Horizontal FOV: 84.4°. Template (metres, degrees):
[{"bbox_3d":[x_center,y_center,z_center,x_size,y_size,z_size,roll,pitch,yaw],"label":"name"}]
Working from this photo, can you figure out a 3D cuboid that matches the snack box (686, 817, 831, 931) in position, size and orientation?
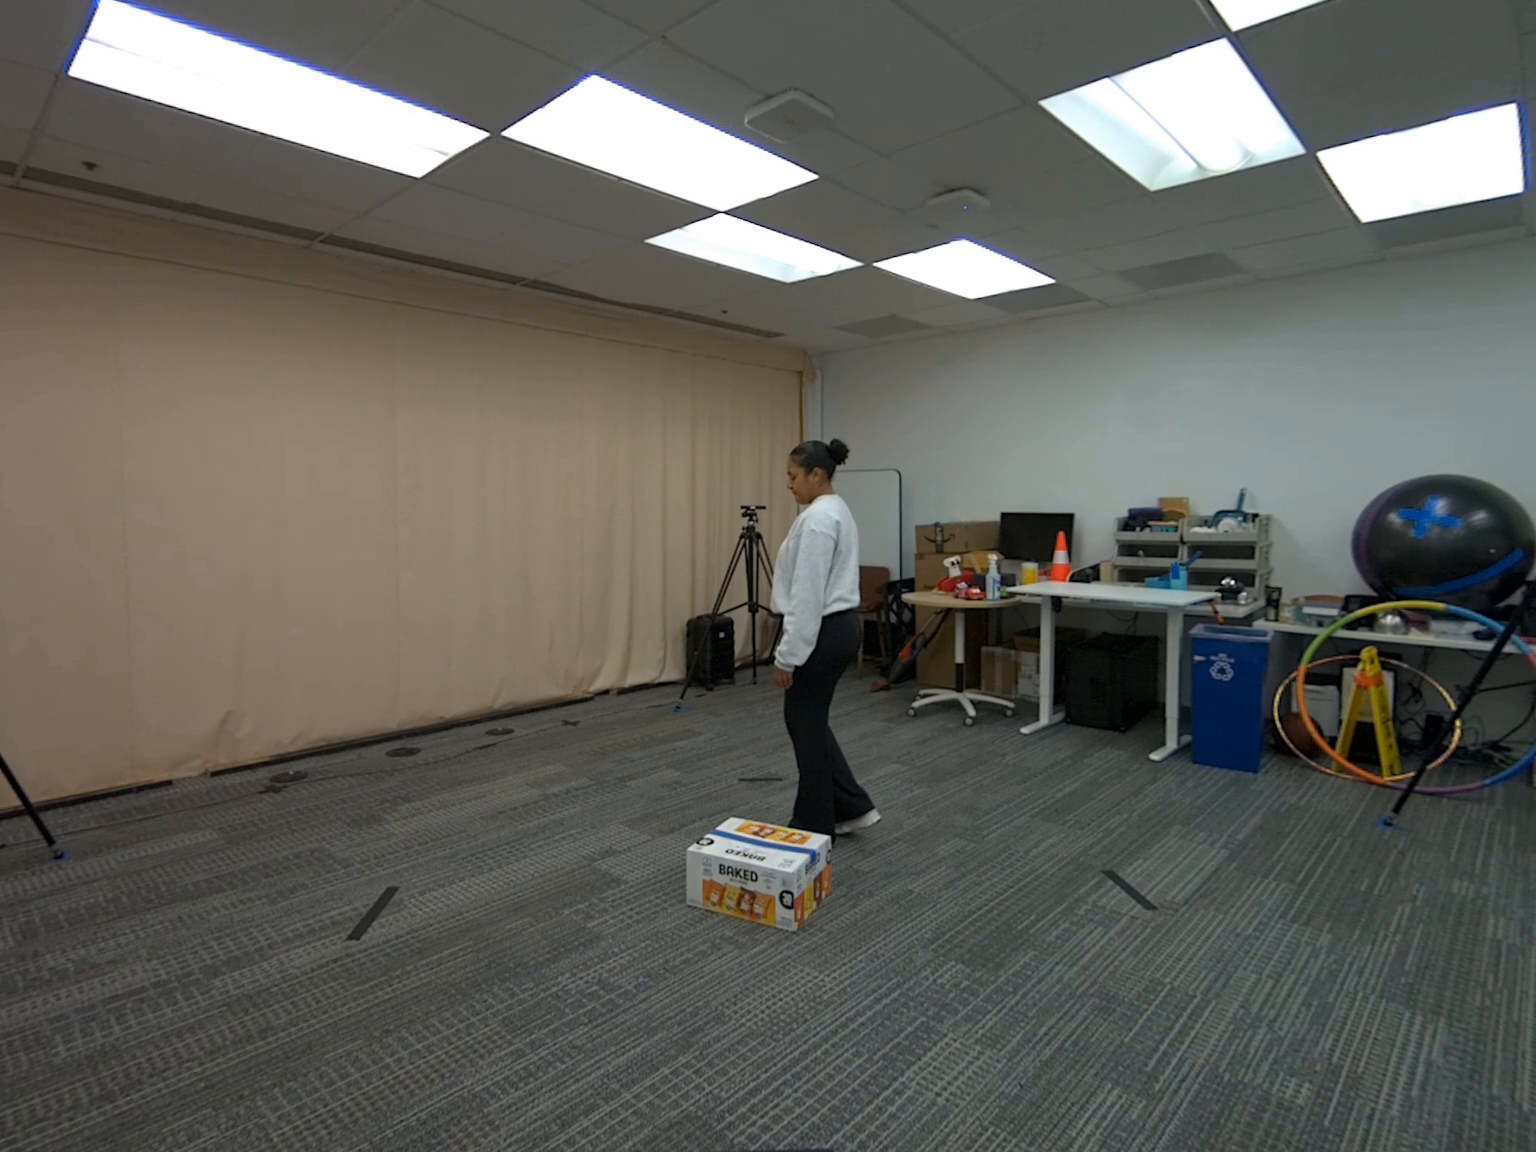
[{"bbox_3d":[-0.025,1.042,2.979,0.416,0.205,0.332,2,5,27],"label":"snack box"}]
